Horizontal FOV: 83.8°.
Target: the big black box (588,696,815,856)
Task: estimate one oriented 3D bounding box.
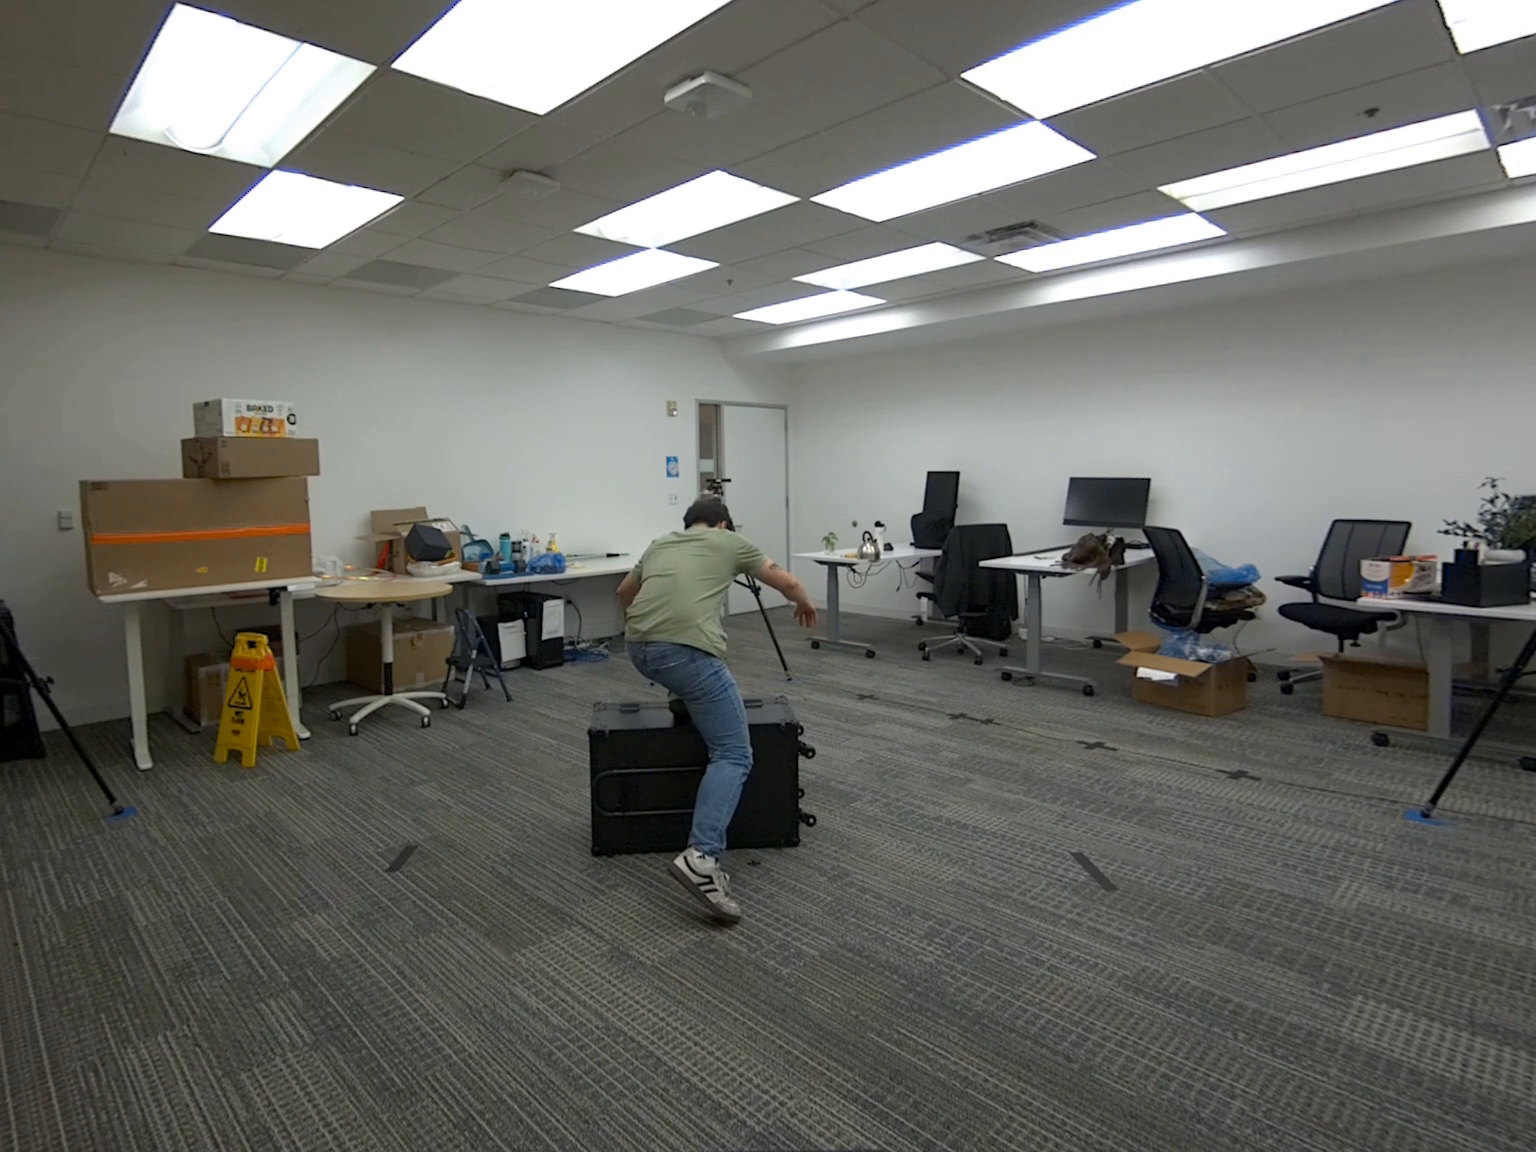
[{"bbox_3d":[-0.260,0.766,3.350,0.857,0.518,0.400,-1,6,-5],"label":"big black box"}]
